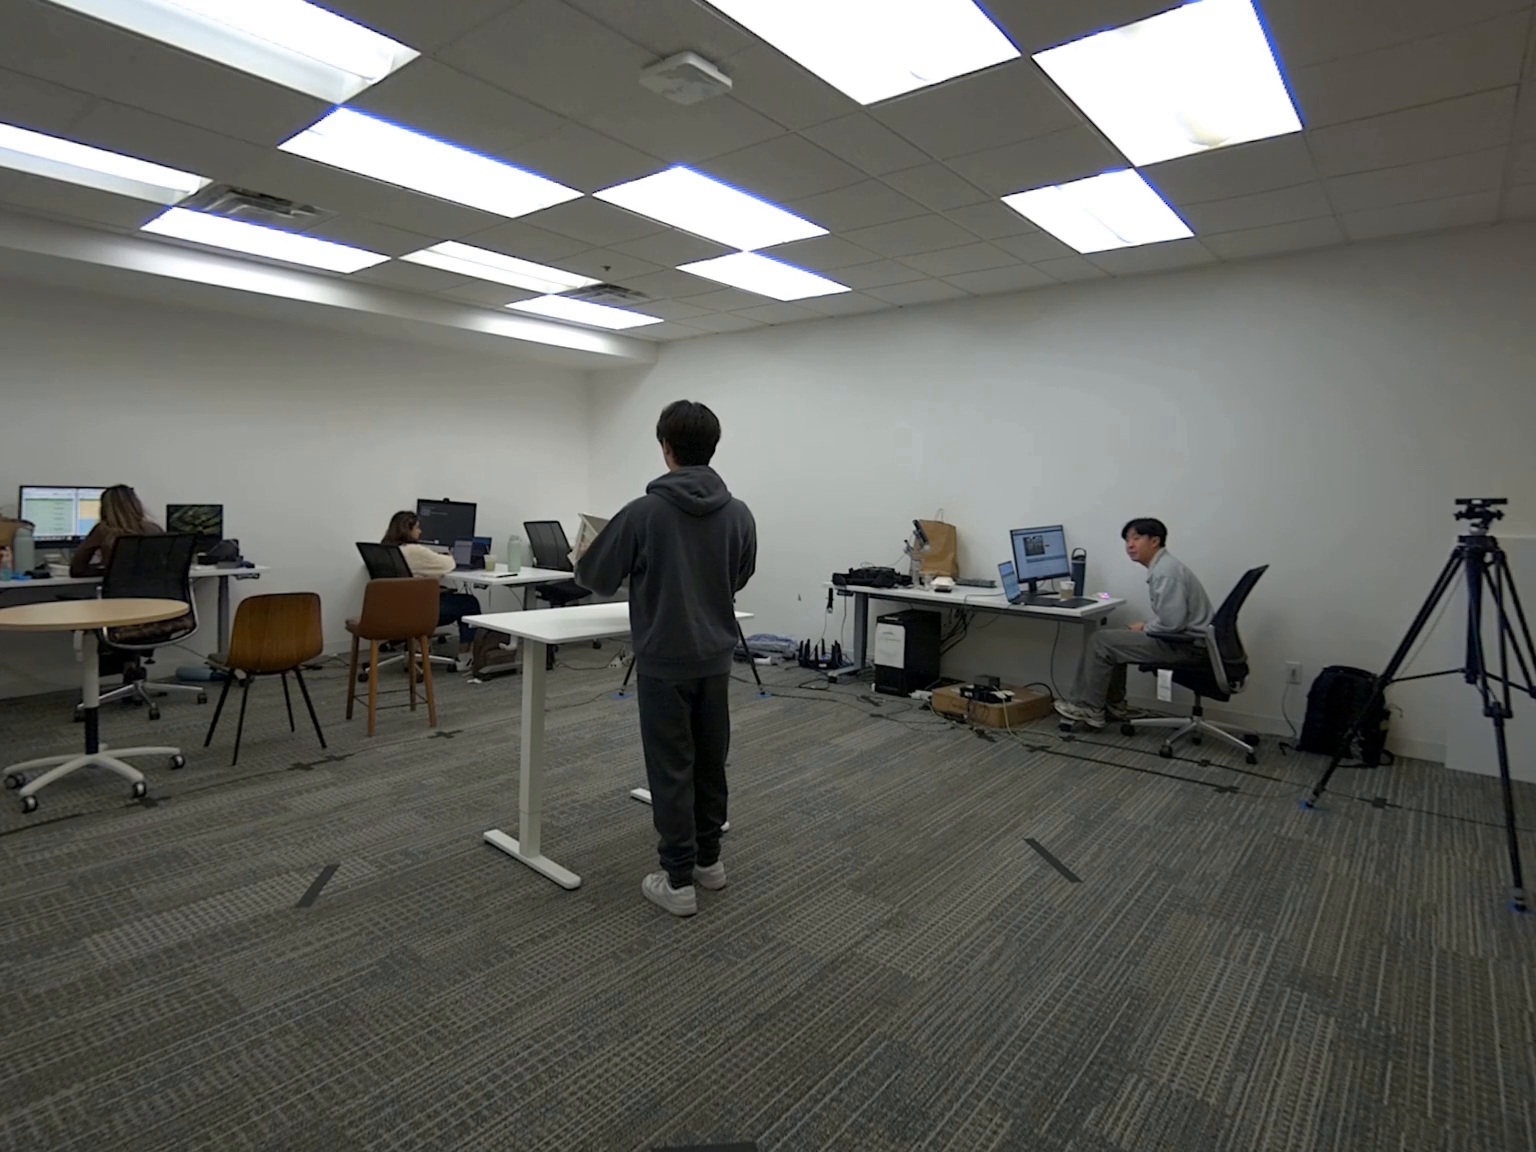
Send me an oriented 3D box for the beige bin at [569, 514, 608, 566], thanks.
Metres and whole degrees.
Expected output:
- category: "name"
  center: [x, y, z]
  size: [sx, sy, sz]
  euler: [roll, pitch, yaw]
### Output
- category: "beige bin"
  center: [-0.513, -0.056, 3.252]
  size: [0.409, 0.188, 0.392]
  euler: [12, 14, -30]
